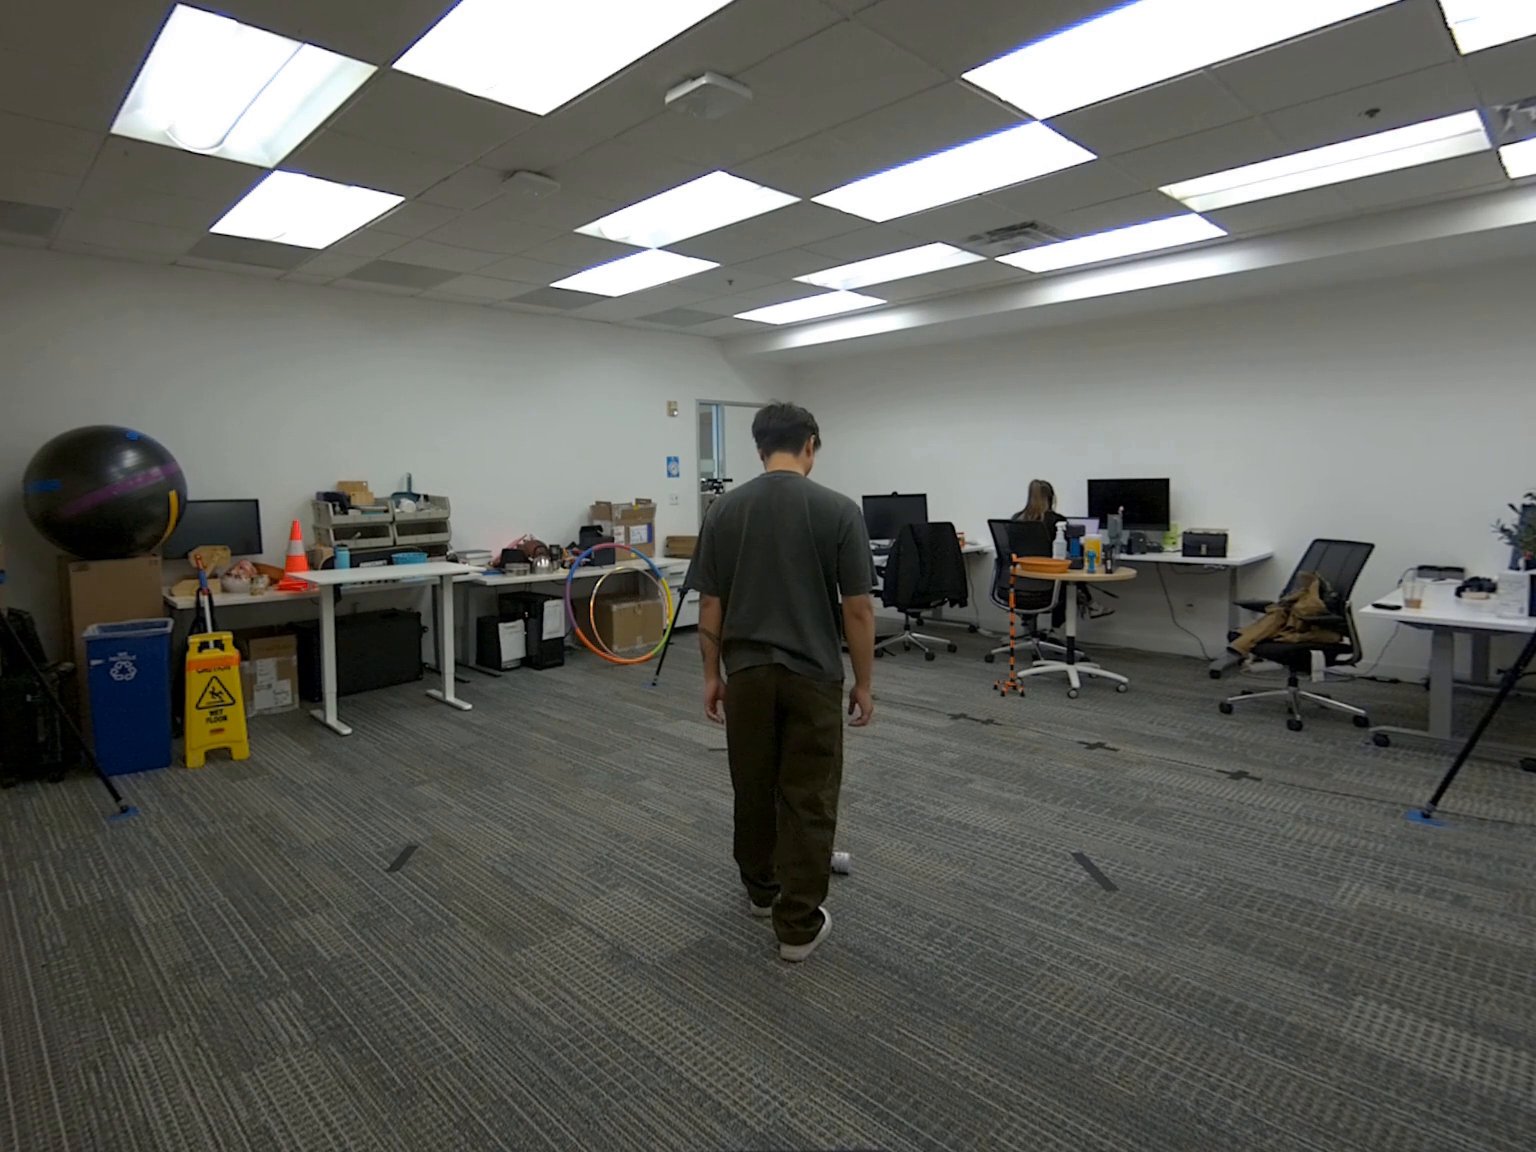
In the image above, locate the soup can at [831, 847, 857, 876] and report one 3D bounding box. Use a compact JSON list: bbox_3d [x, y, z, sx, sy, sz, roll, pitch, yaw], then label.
[{"bbox_3d":[0.246,1.005,3.028,0.123,0.067,0.066,-2,4,15],"label":"soup can"}]
